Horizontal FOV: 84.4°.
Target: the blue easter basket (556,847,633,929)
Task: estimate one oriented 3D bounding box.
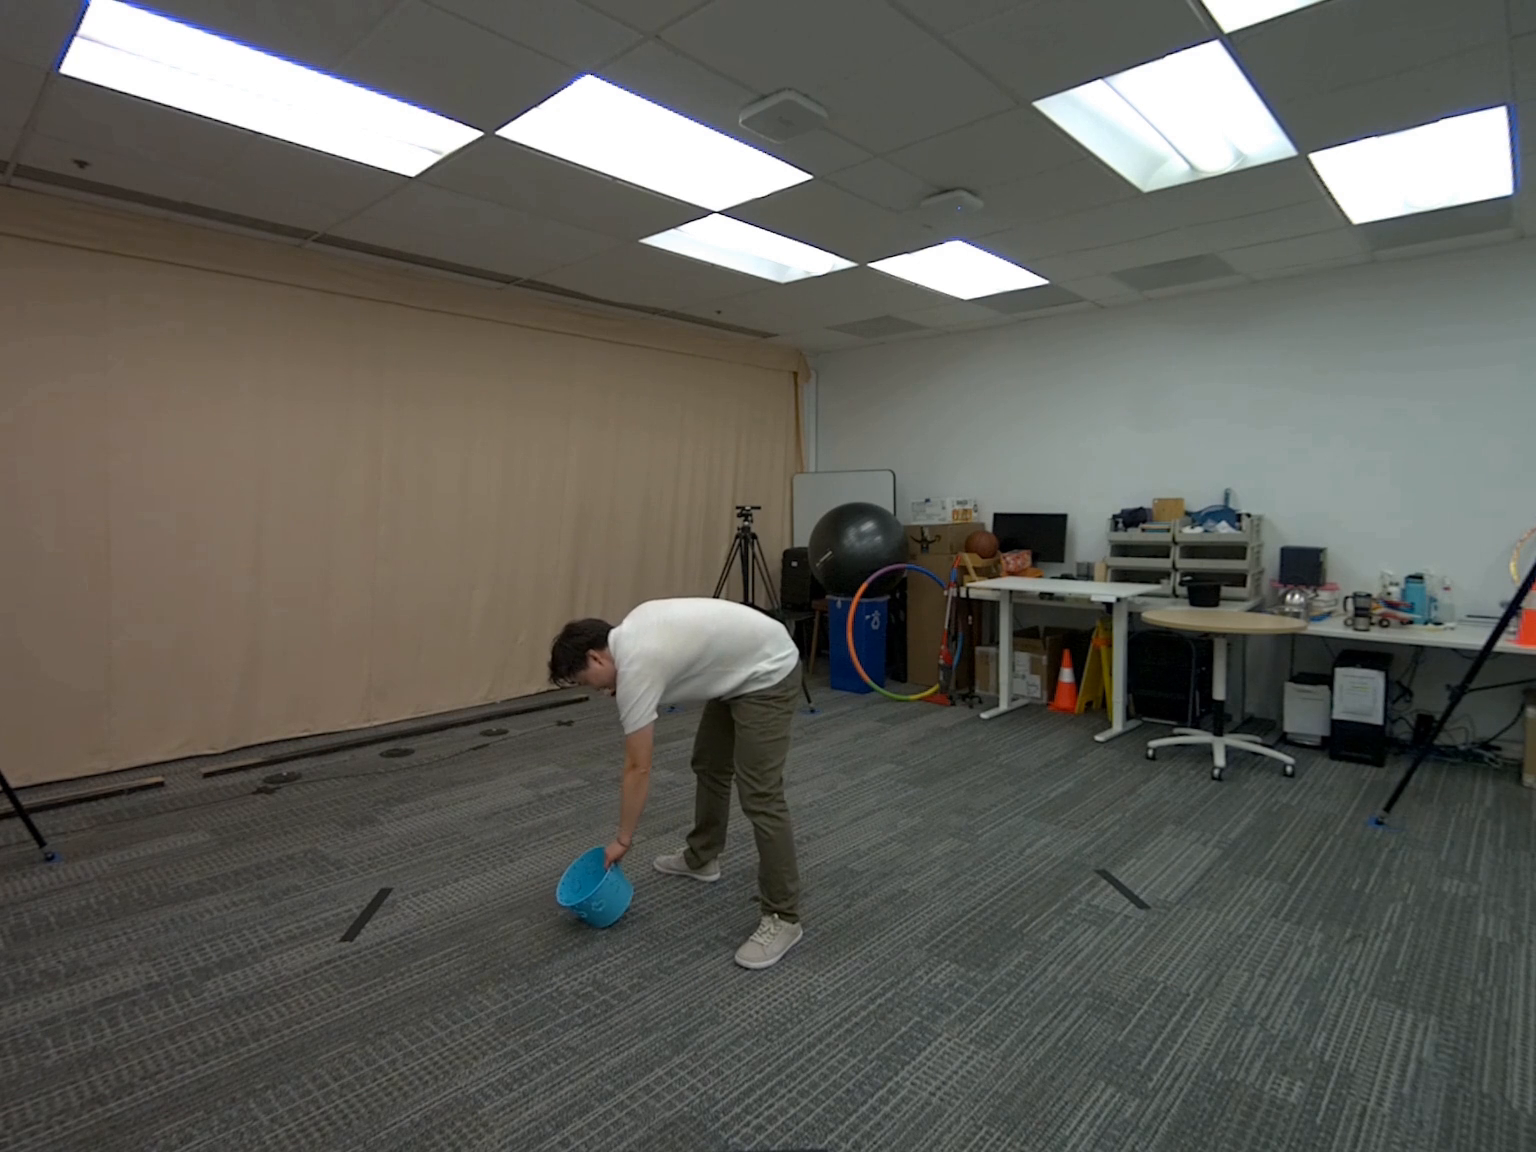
[{"bbox_3d":[-0.577,1.057,2.804,0.245,0.153,0.247,-30,19,9],"label":"blue easter basket"}]
